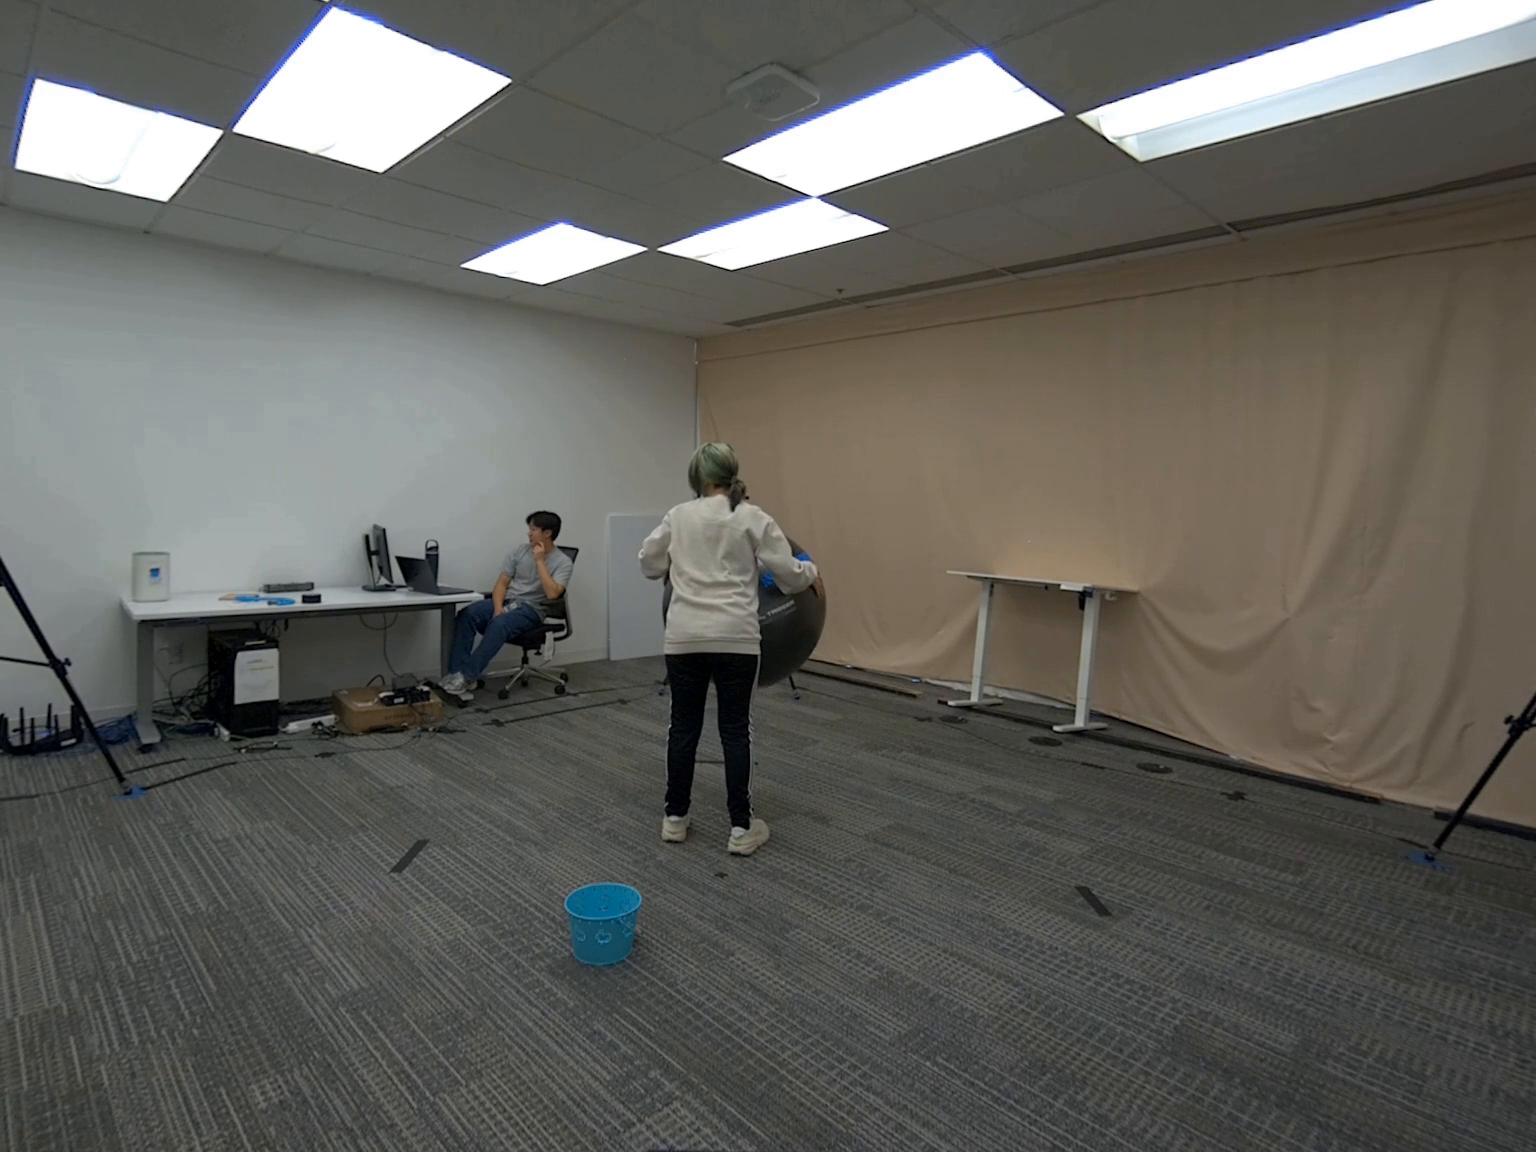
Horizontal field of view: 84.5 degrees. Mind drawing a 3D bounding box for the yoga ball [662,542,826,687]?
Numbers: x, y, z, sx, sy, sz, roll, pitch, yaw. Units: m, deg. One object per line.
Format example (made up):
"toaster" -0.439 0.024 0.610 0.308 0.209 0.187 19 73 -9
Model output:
"yoga ball" -0.113 0.148 3.869 0.757 0.756 0.761 1 4 -1
